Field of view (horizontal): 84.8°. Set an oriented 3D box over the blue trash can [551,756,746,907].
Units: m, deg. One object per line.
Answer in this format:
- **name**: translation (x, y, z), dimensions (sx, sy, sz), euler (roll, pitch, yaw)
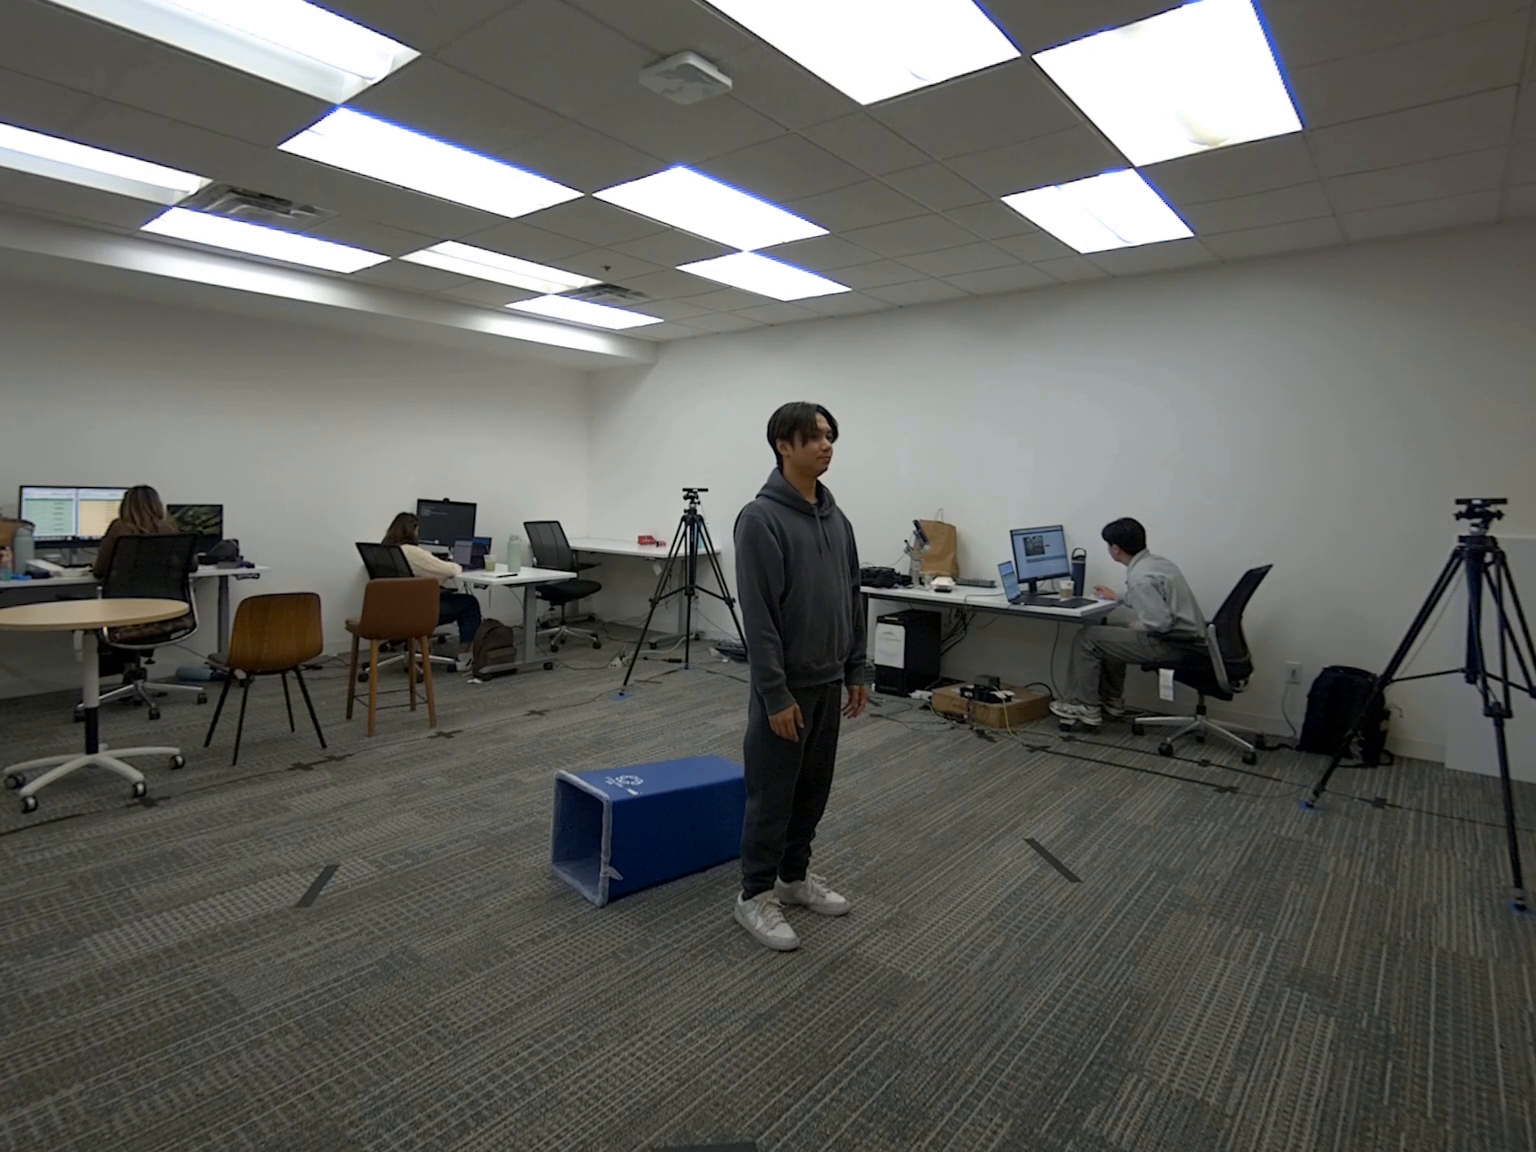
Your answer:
- **blue trash can**: translation (-0.414, 0.895, 3.156), dimensions (0.691, 0.377, 0.387), euler (1, 3, -41)
